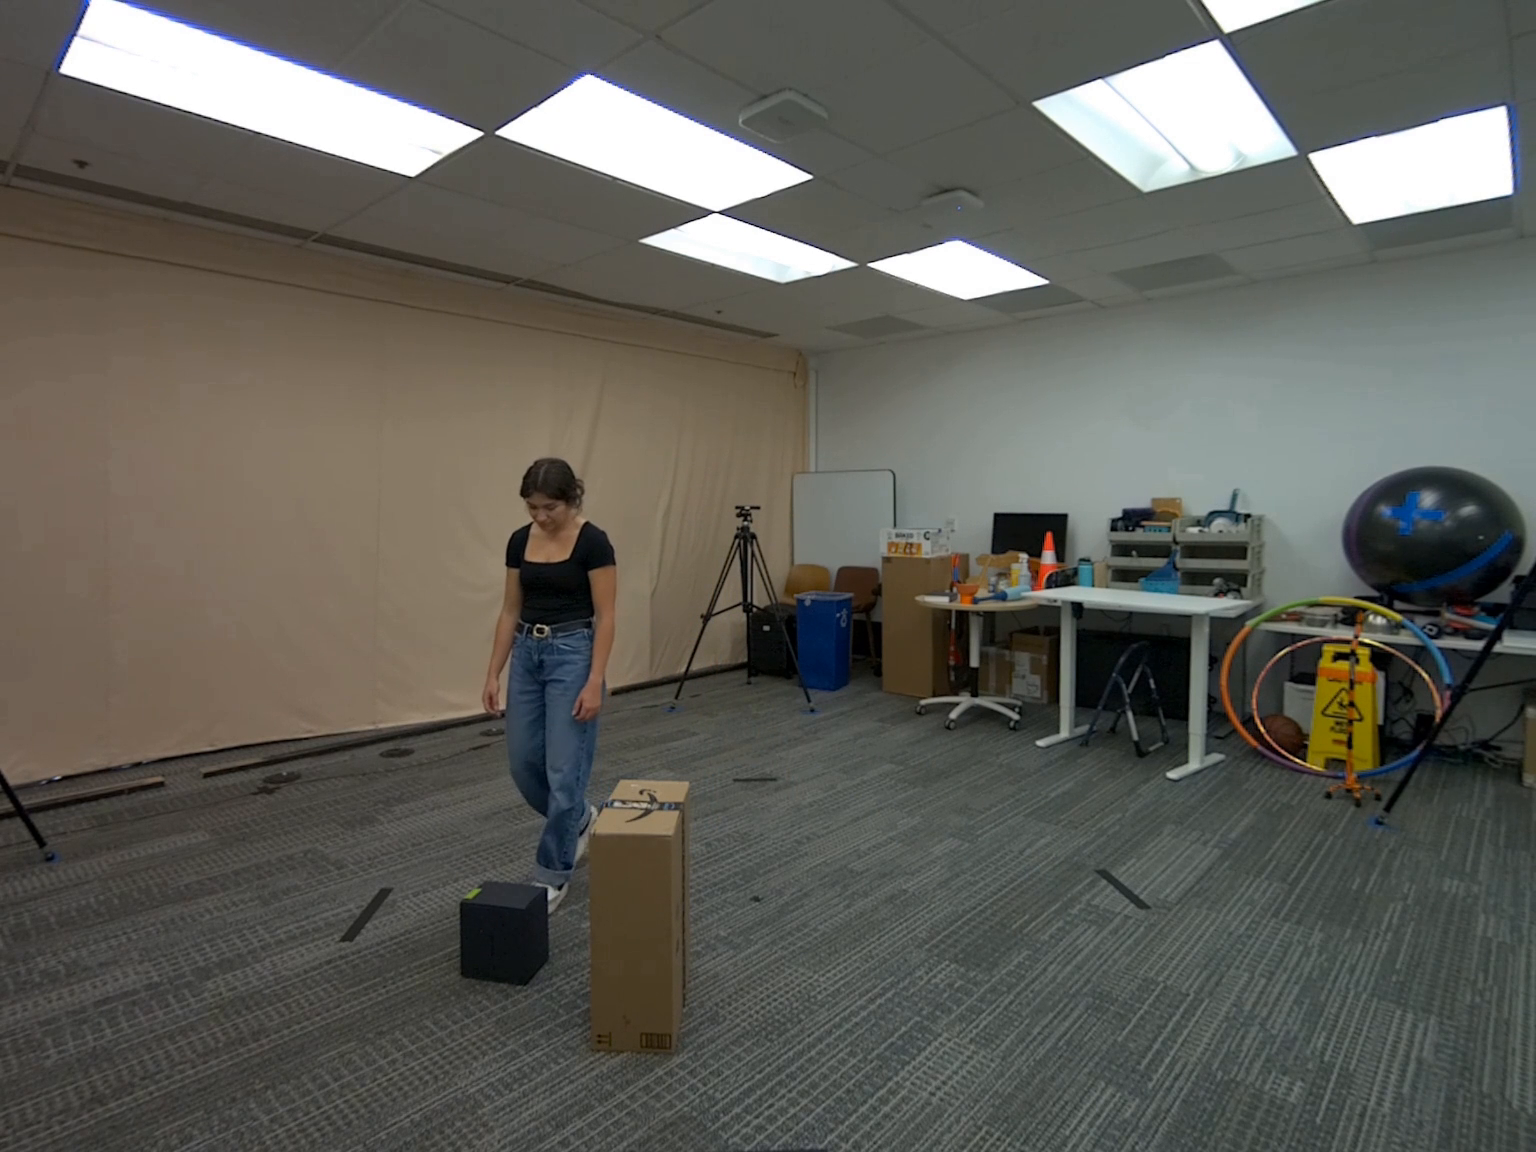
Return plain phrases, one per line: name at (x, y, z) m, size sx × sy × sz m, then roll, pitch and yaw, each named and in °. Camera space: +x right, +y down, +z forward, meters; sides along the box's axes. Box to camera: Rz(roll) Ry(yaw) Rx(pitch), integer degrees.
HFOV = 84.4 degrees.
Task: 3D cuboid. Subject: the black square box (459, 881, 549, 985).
black square box at (-0.795, 1.065, 2.542) m, size 0.220 × 0.228 × 0.154 m, roll 0°, pitch 2°, yaw 12°
